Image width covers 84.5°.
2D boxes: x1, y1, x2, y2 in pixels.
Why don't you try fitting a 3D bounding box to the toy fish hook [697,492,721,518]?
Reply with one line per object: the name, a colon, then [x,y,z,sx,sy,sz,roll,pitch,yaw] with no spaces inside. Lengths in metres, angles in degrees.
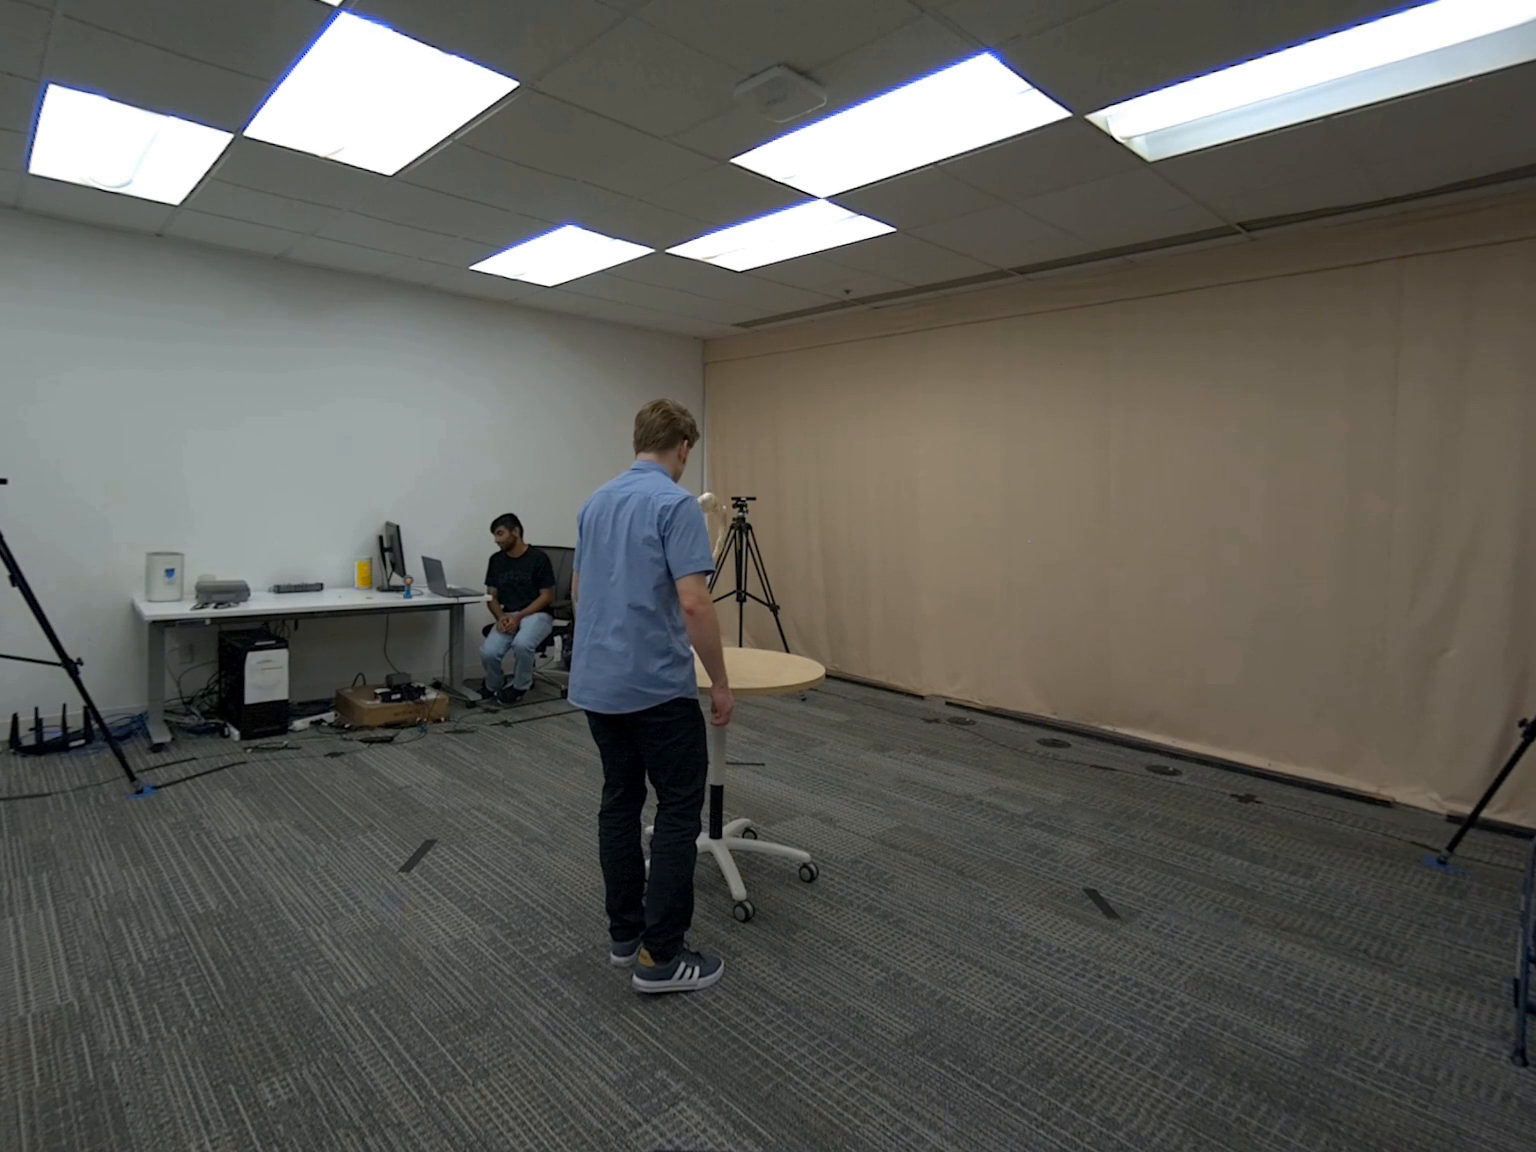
toy fish hook: [-0.252,-0.056,3.009,0.049,0.512,0.217,-3,-33,36]
